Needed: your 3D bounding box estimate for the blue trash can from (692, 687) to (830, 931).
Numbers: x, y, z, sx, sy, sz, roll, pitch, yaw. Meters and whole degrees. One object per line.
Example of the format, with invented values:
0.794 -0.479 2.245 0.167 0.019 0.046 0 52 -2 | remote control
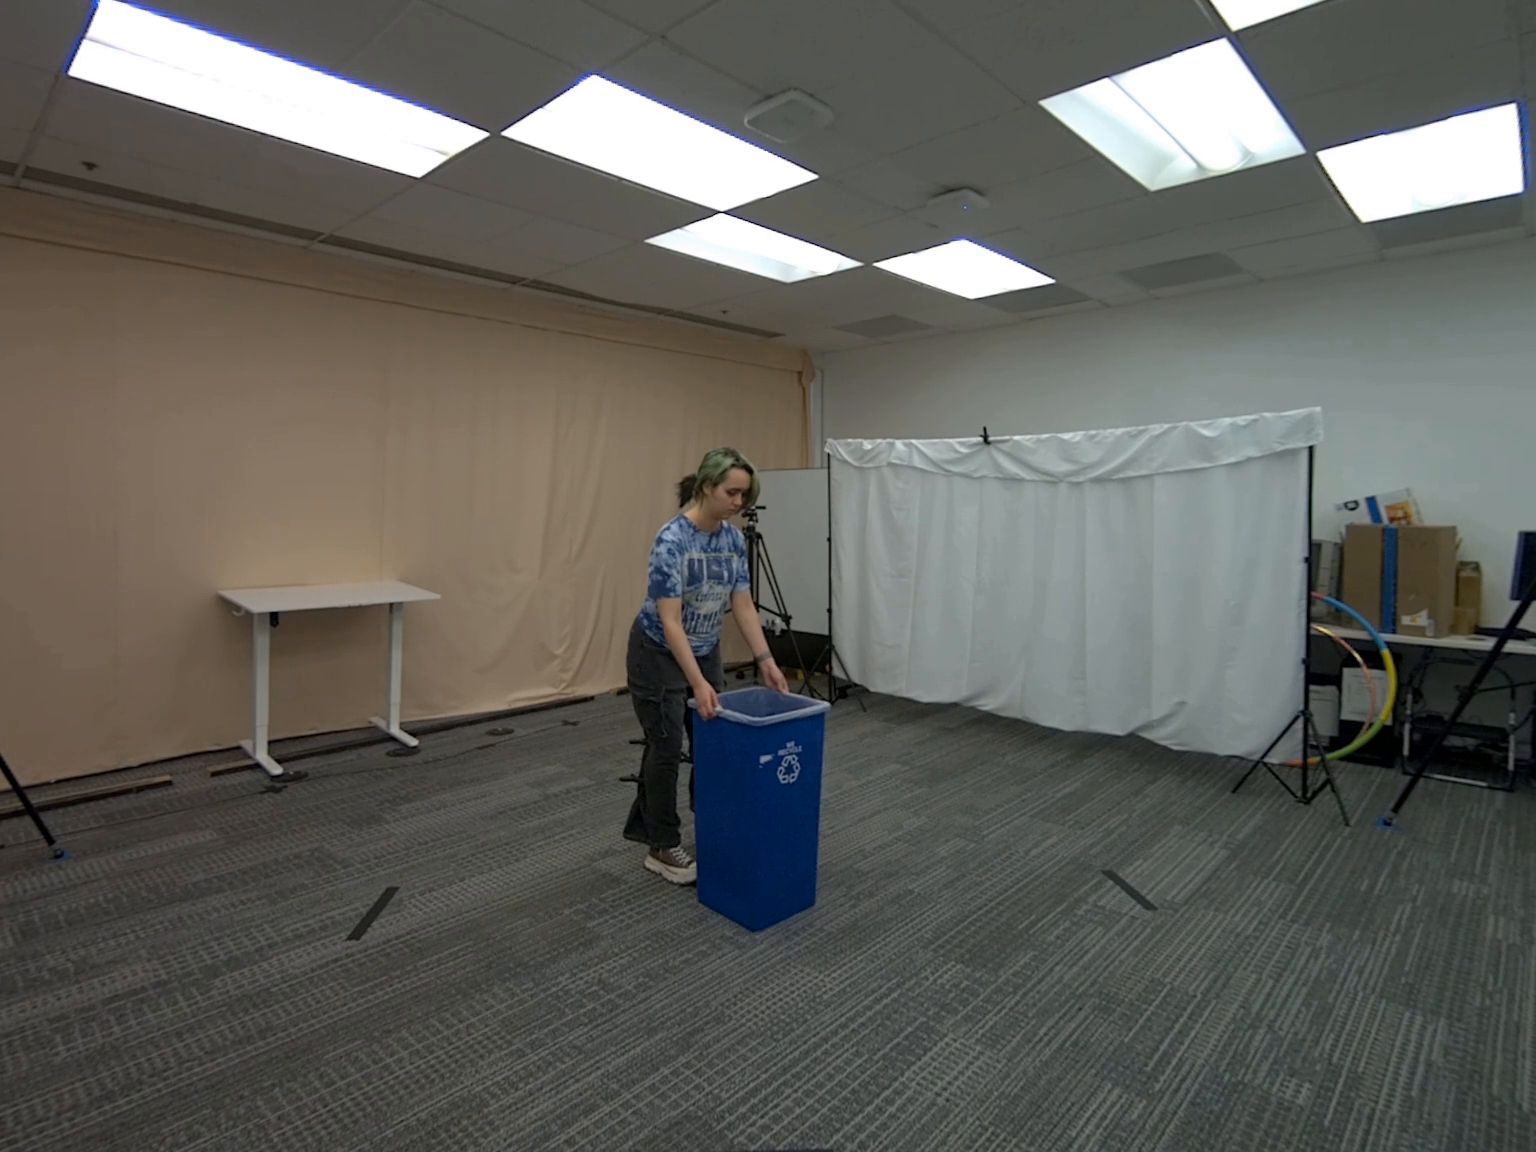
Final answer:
-0.032 0.791 2.932 0.362 0.712 0.391 -3 6 -43 | blue trash can
